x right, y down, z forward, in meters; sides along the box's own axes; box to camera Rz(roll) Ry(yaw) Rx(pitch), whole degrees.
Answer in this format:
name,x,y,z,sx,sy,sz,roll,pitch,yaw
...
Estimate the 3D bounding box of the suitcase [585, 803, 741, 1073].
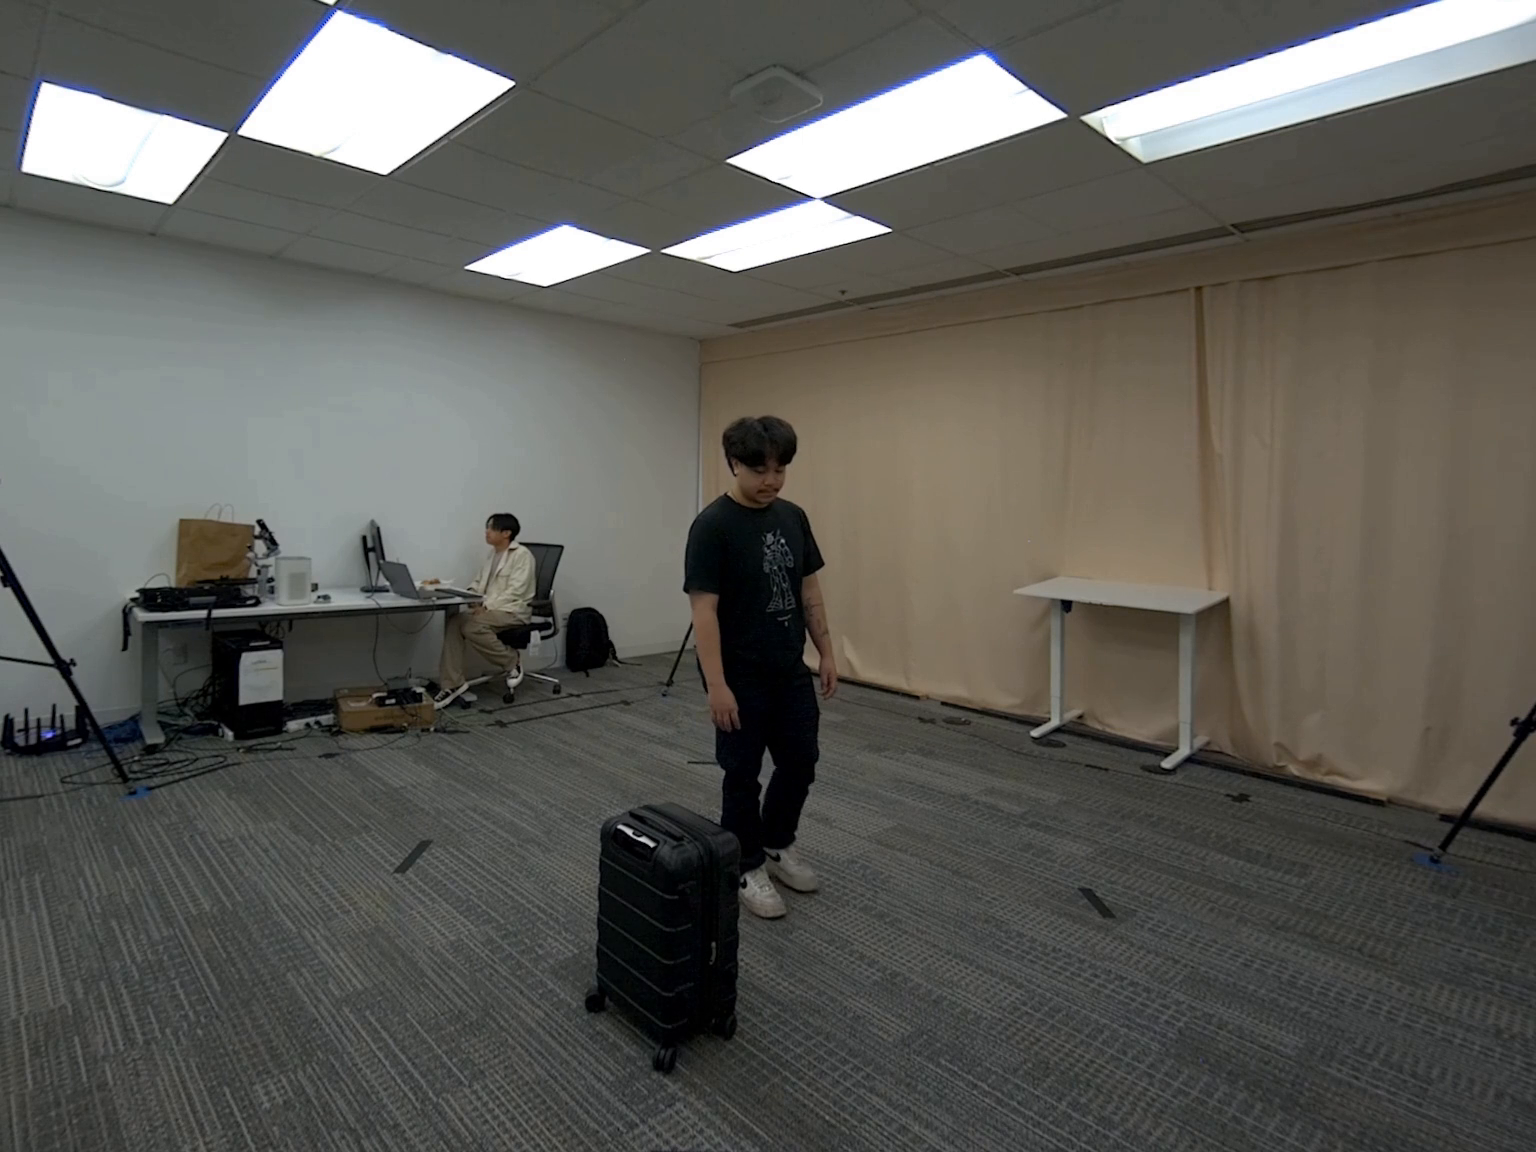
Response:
name,x,y,z,sx,sy,sz,roll,pitch,yaw
suitcase,-0.276,0.912,2.225,0.242,0.548,0.385,0,4,-42
